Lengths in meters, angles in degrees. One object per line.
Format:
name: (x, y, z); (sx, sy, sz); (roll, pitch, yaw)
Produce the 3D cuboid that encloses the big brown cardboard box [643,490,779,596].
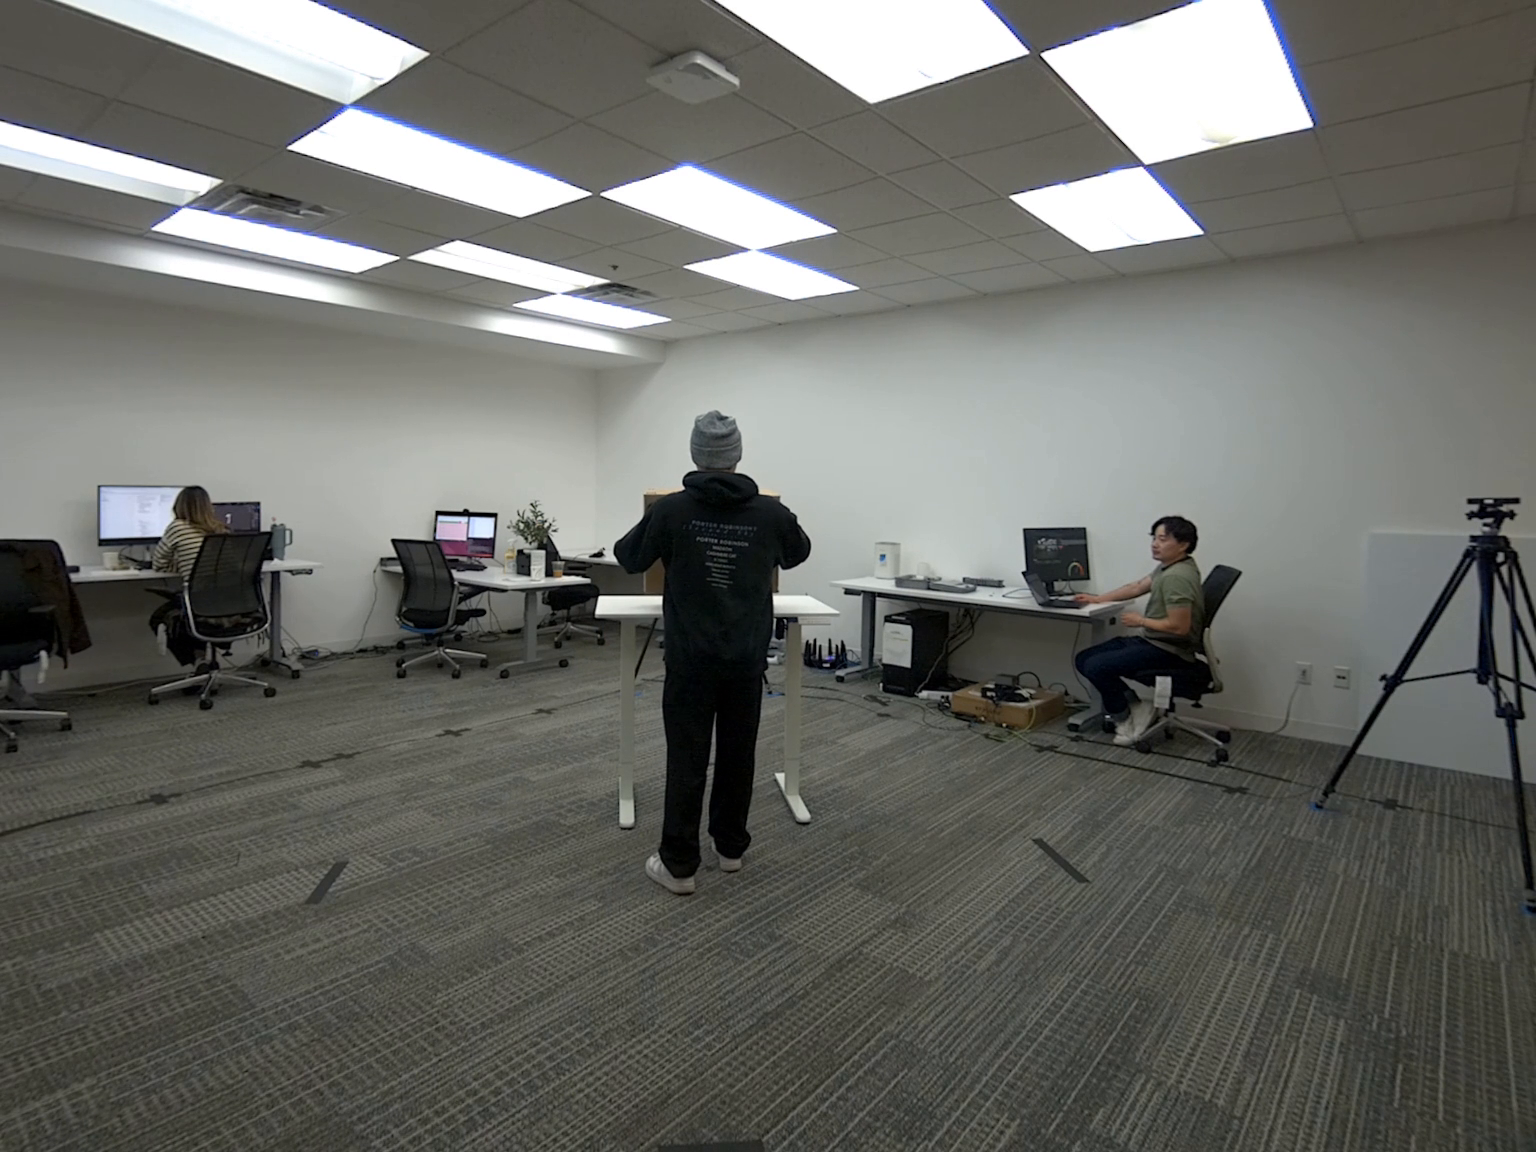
big brown cardboard box: (-0.249, -0.155, 3.605); (0.585, 0.414, 0.237); (1, 9, -7)
